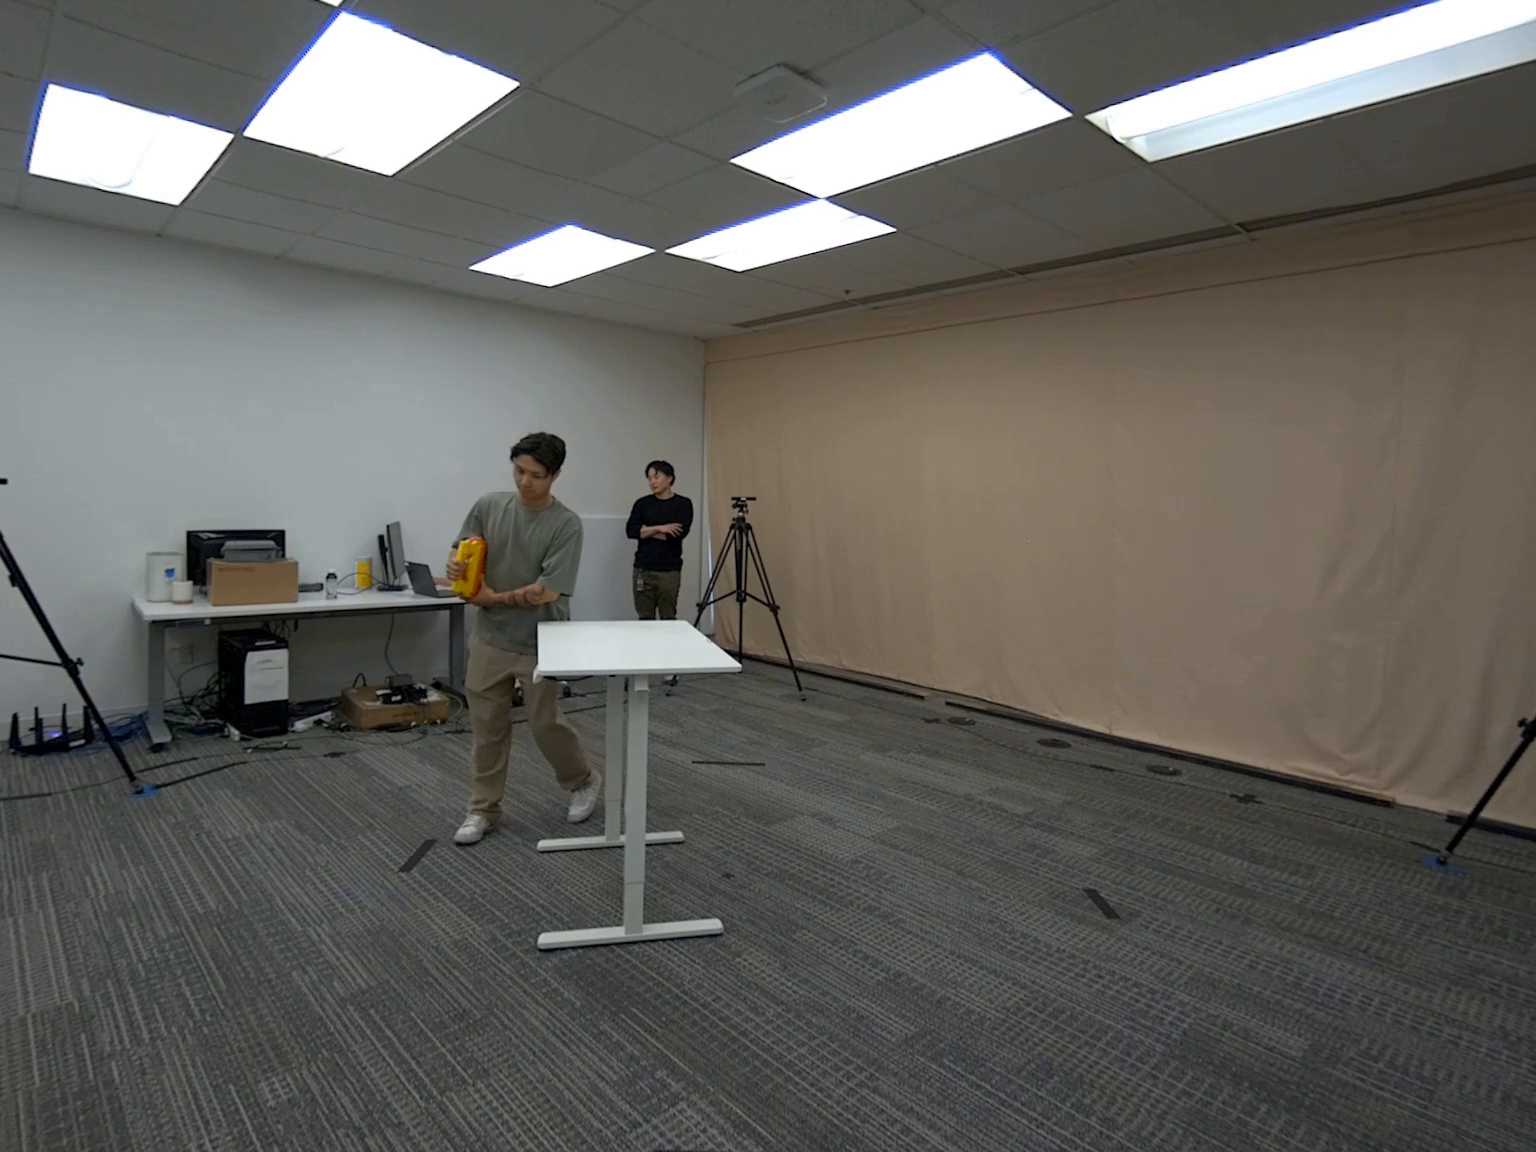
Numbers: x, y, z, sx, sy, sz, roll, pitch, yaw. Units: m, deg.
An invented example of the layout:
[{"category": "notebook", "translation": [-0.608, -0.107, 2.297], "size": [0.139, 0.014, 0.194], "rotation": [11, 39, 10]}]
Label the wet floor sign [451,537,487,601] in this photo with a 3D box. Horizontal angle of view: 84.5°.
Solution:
[{"category": "wet floor sign", "translation": [-1.190, -0.008, 3.553], "size": [0.290, 0.283, 0.643], "rotation": [9, -3, 1]}]
